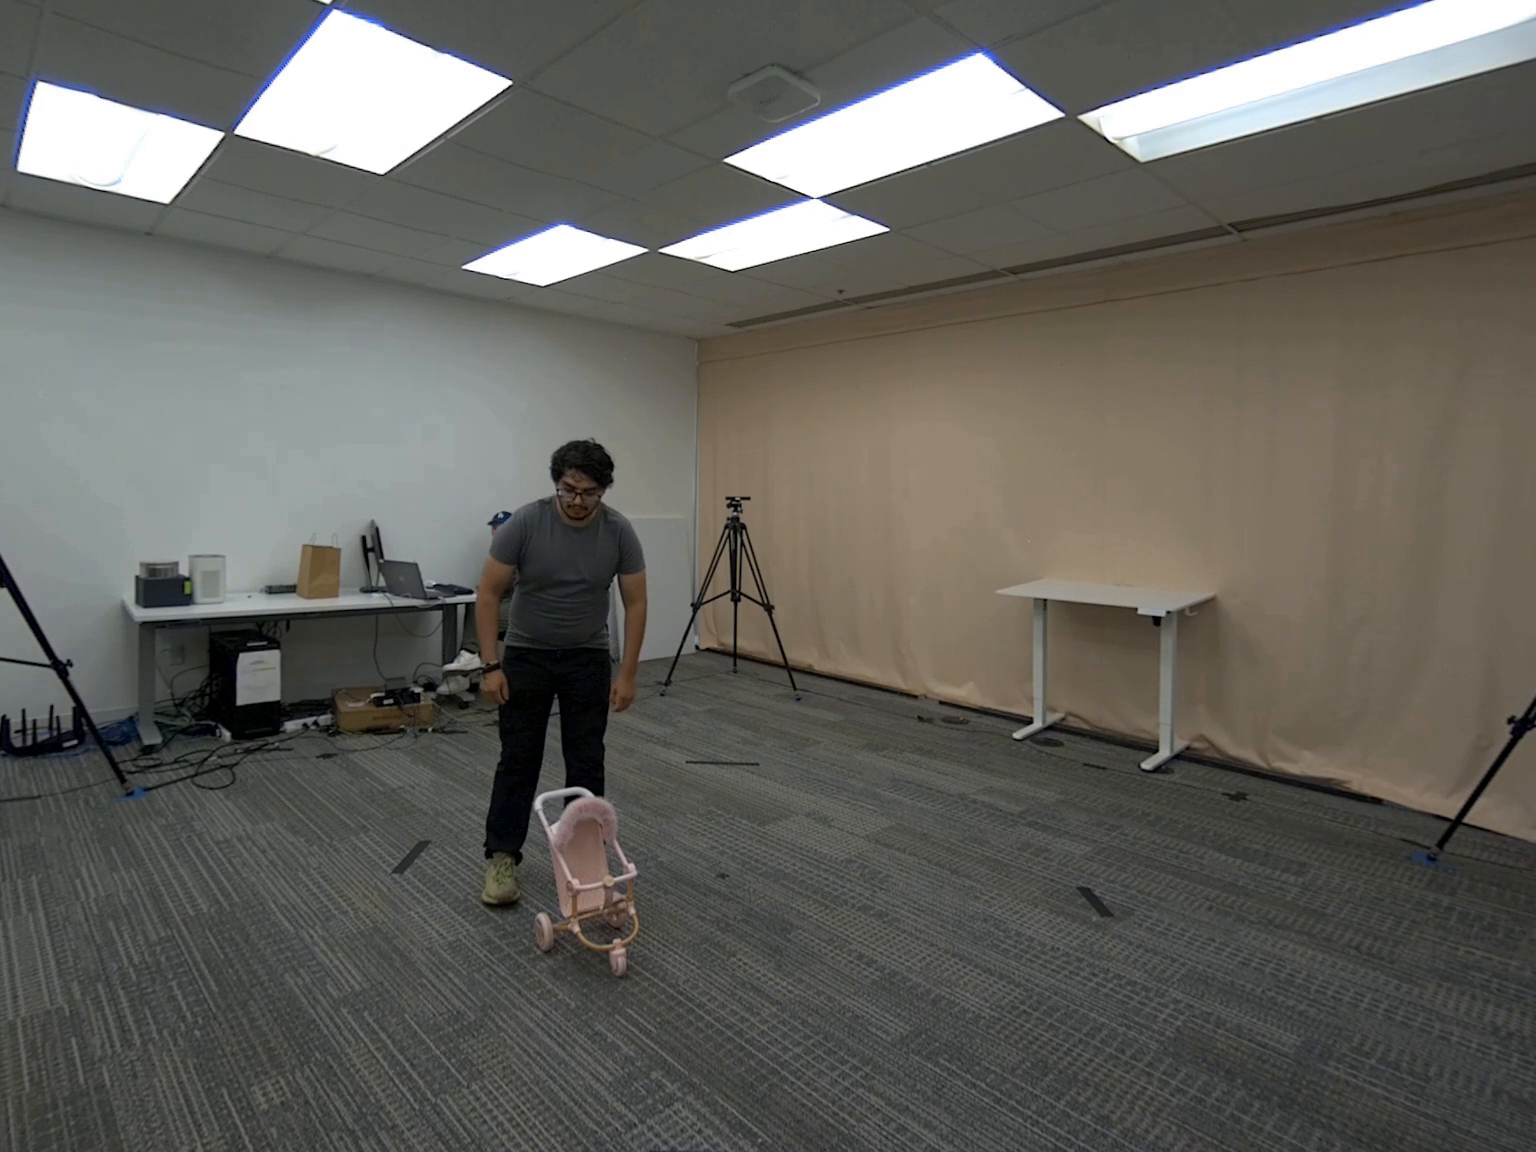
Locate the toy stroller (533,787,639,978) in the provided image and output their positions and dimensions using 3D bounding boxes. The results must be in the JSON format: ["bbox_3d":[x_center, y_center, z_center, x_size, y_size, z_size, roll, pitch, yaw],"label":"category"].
[{"bbox_3d":[-0.556,0.924,2.587,0.275,0.540,0.345,-1,-13,-33],"label":"toy stroller"}]
